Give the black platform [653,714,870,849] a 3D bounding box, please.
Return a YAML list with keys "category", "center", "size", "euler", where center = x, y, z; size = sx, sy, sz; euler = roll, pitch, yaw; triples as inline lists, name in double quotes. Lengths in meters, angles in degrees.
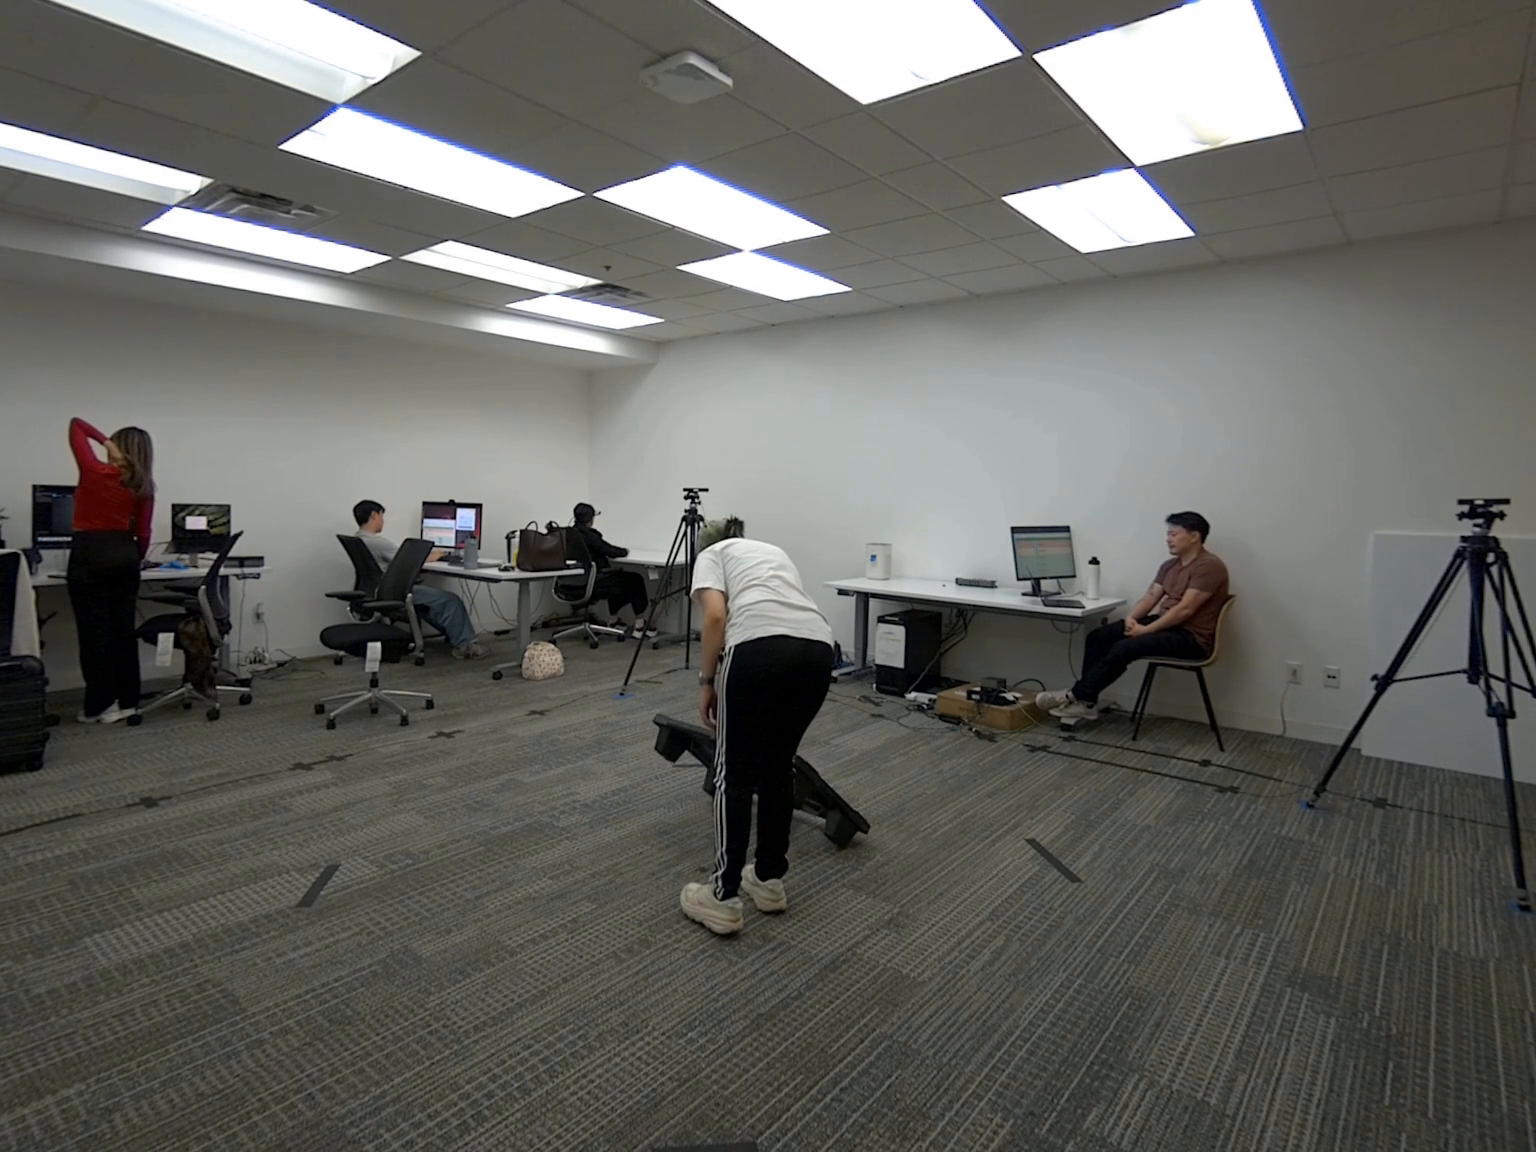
- category: "black platform"
  center: [-0.072, 0.838, 3.464]
  size: [0.833, 0.144, 0.581]
  euler: [6, -35, 44]
